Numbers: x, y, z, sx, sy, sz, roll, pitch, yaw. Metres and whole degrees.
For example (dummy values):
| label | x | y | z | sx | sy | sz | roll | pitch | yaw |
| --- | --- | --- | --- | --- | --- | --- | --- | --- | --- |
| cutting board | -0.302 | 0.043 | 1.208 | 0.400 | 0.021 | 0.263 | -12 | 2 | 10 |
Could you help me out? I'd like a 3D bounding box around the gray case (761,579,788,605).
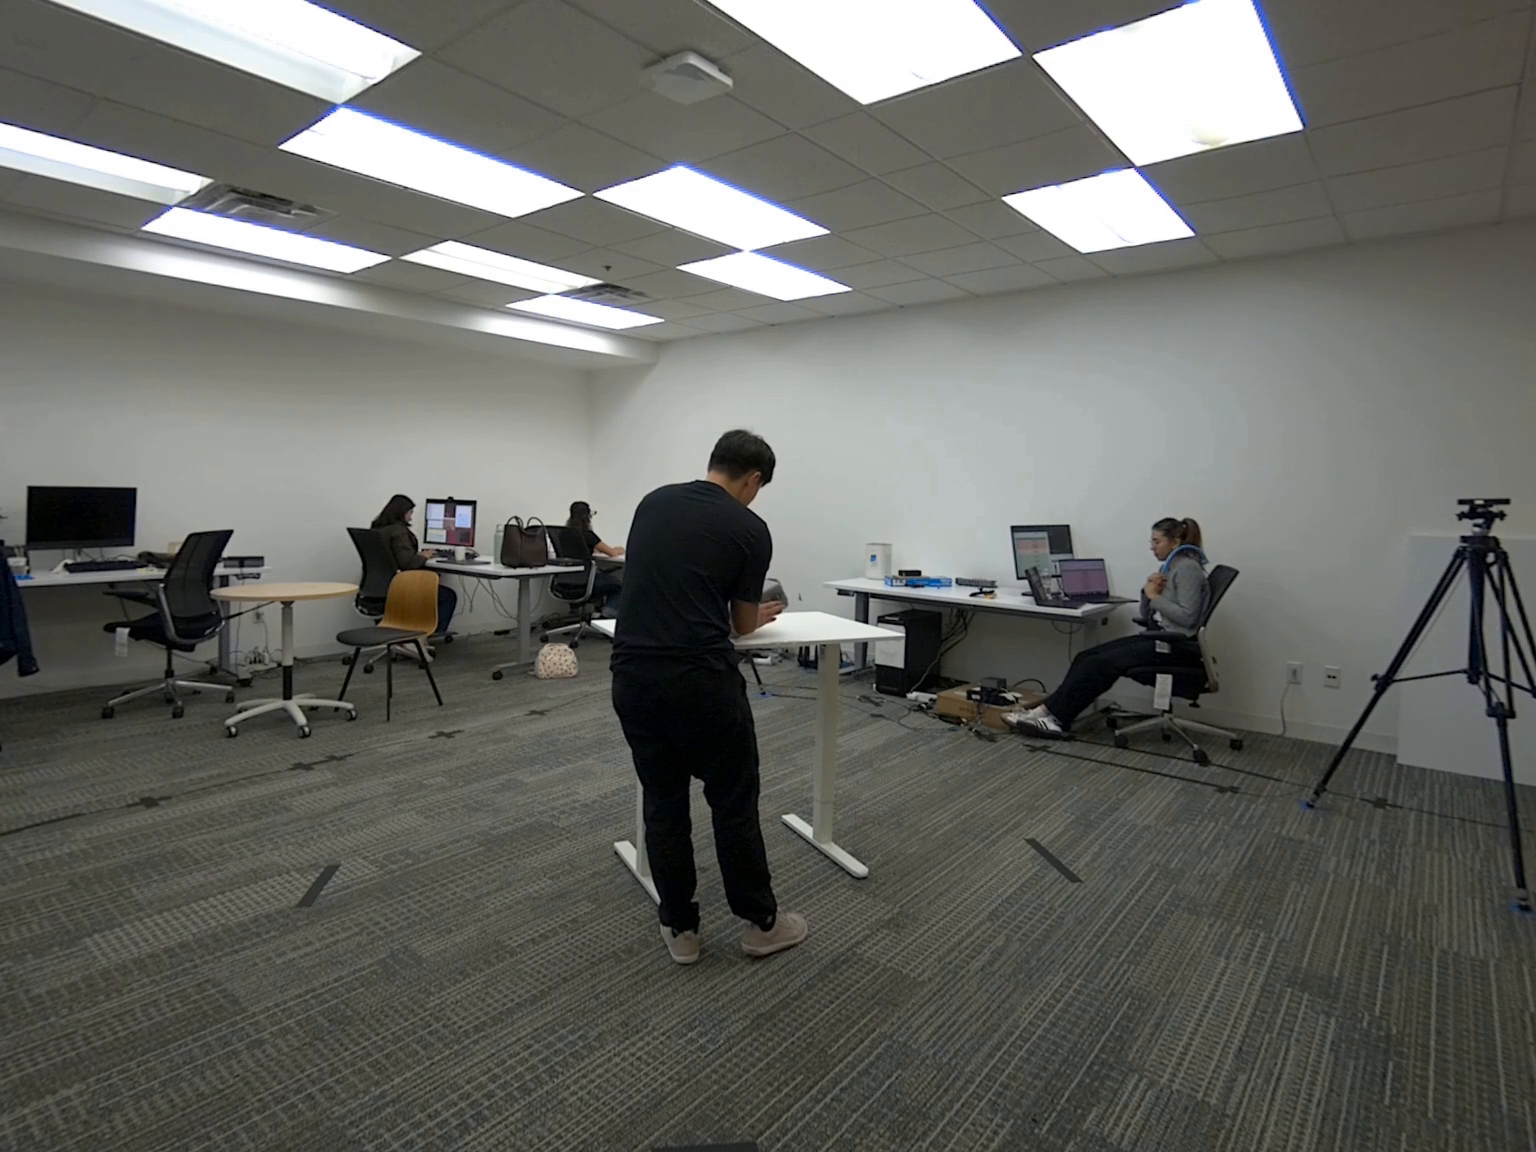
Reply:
| label | x | y | z | sx | sy | sz | roll | pitch | yaw |
| --- | --- | --- | --- | --- | --- | --- | --- | --- | --- |
| gray case | -0.089 | 0.102 | 3.002 | 0.258 | 0.102 | 0.263 | -31 | 15 | -22 |
